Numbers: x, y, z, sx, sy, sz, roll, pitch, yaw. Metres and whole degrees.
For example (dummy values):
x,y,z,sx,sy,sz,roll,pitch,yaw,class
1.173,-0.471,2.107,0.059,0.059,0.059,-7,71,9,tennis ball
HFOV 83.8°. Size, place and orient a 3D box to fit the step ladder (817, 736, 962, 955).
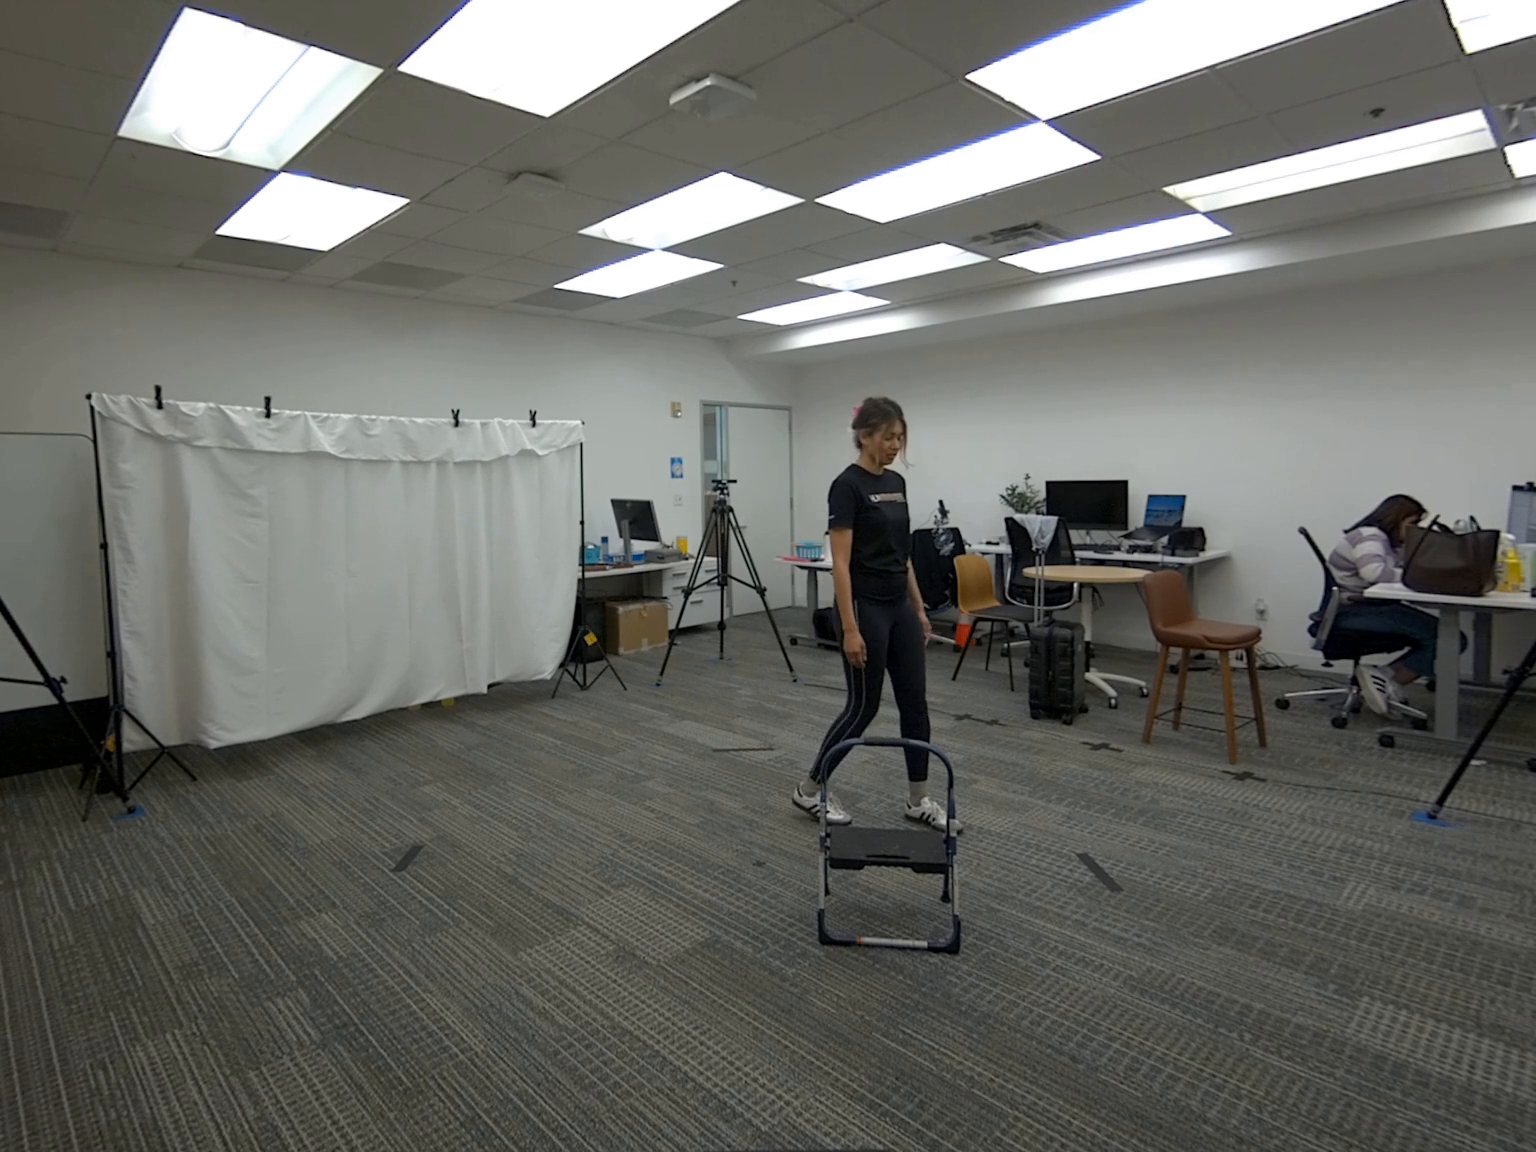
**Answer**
x,y,z,sx,sy,sz,roll,pitch,yaw,class
0.373,0.790,2.675,0.434,0.604,0.348,0,3,7,step ladder
